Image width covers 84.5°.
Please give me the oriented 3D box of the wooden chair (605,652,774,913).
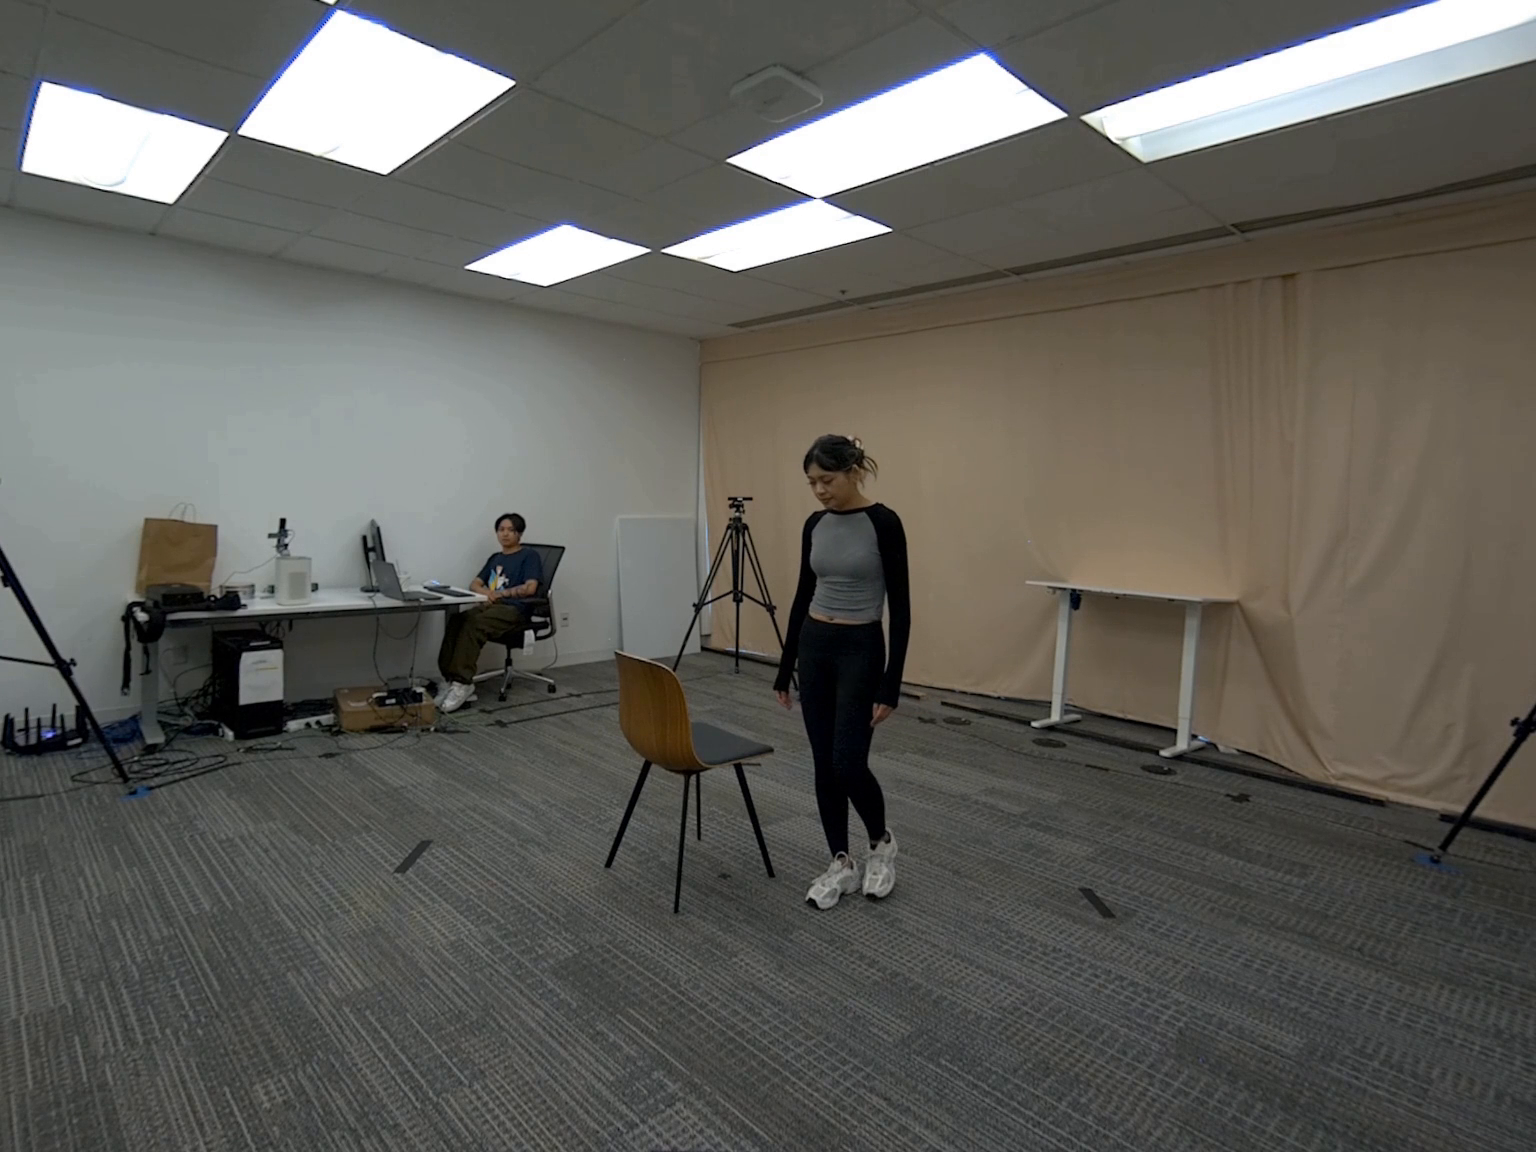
[{"bbox_3d":[-0.281,0.674,3.104,0.512,0.873,0.490,-7,8,-41],"label":"wooden chair"}]
